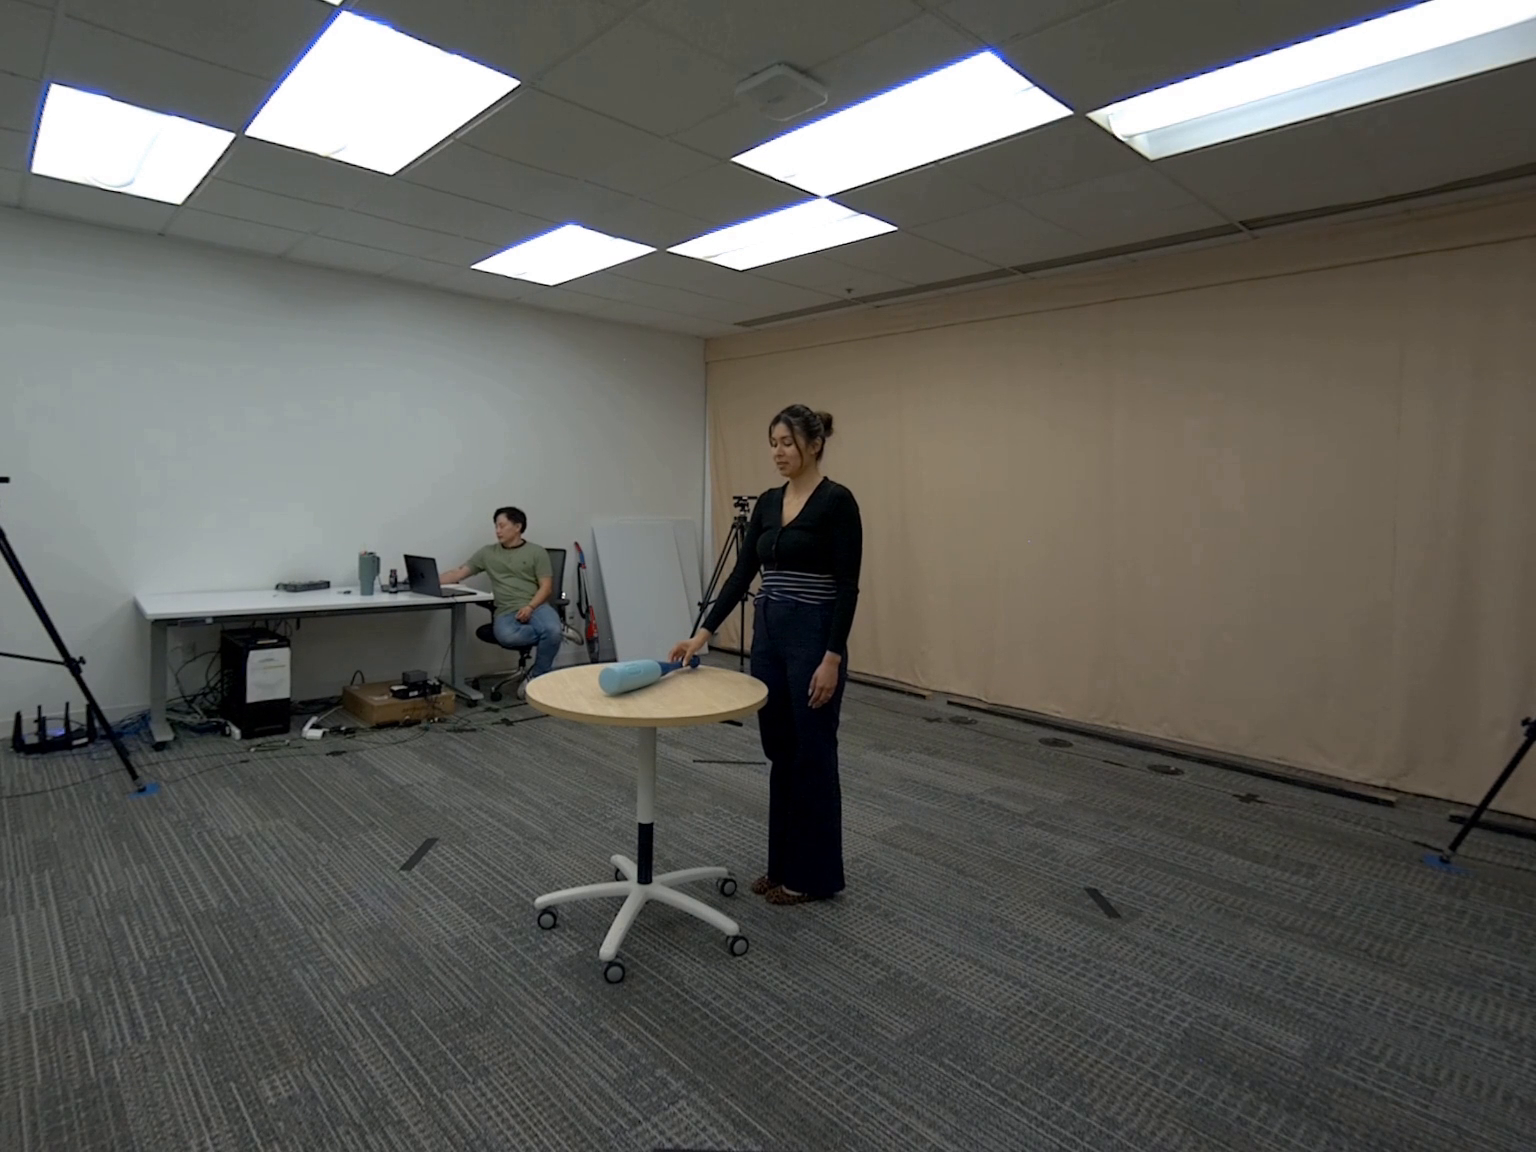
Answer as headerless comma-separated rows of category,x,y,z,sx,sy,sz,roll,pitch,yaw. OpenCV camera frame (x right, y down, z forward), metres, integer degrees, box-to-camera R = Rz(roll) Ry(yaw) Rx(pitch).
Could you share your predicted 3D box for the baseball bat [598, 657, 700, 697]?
baseball bat,-0.370,0.311,2.753,0.091,0.089,0.533,3,3,23
